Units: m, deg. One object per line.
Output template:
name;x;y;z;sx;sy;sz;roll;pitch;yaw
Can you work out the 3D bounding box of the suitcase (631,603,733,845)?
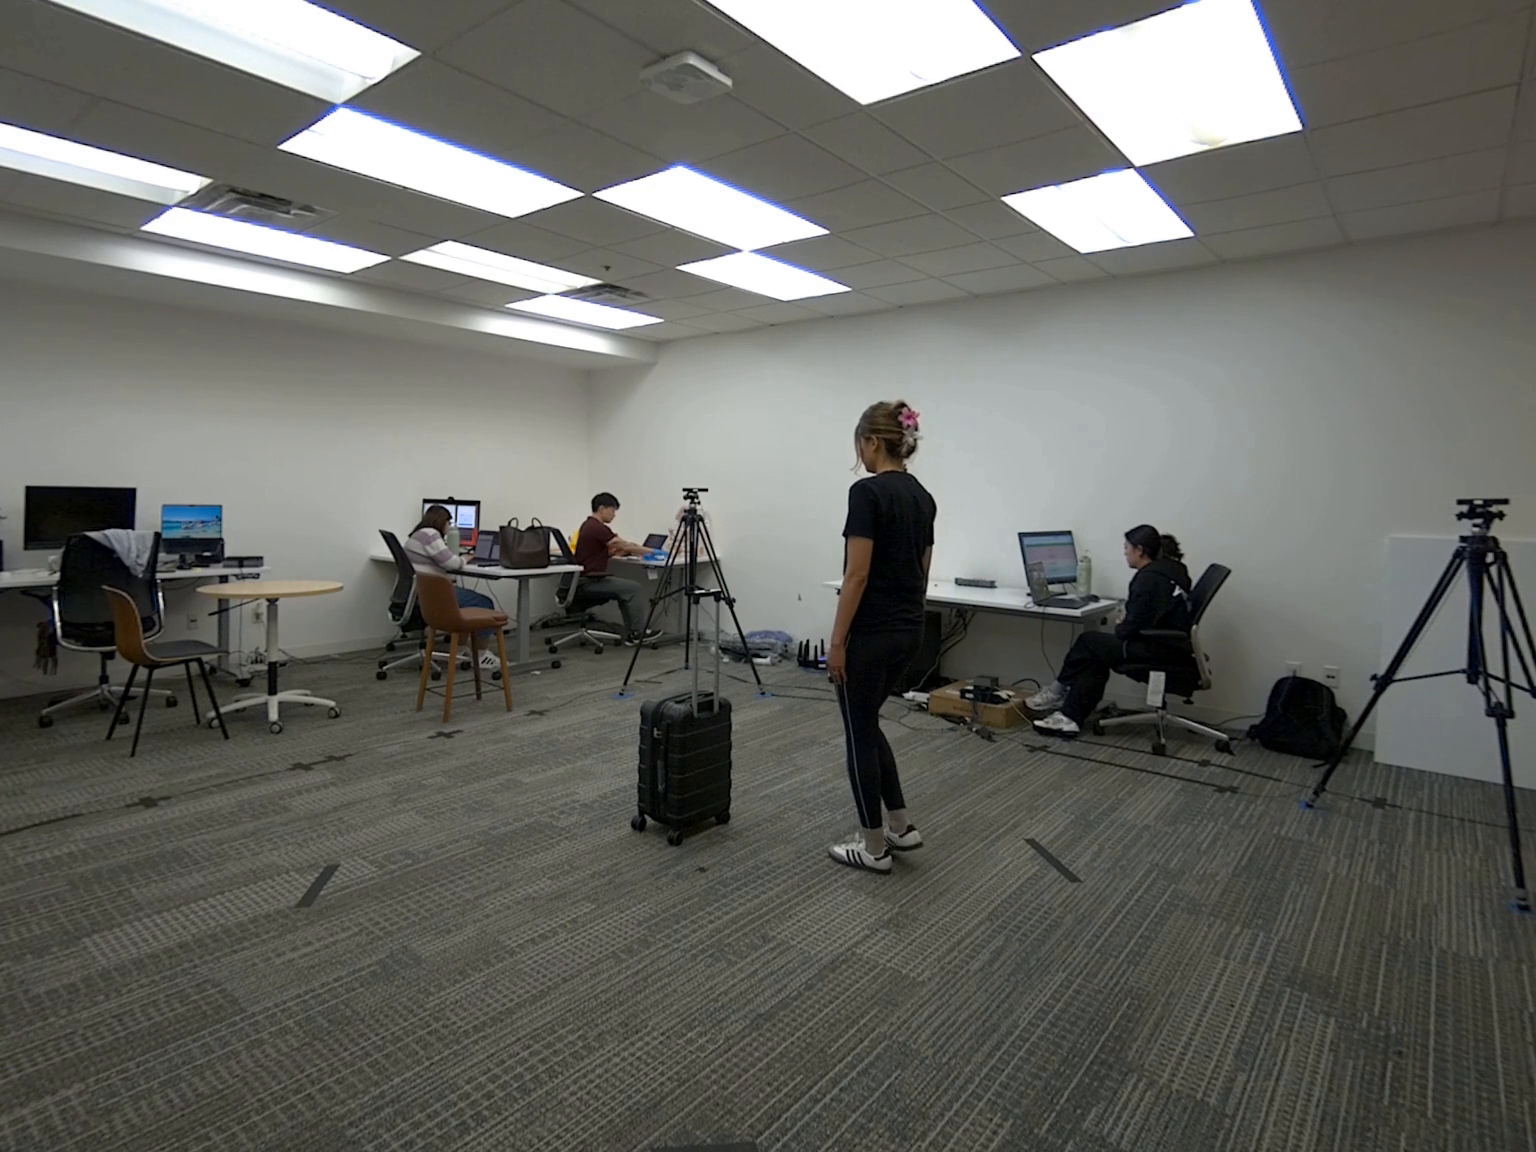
suitcase;-0.353;0.552;3.512;0.265;0.979;0.372;0;0;41
